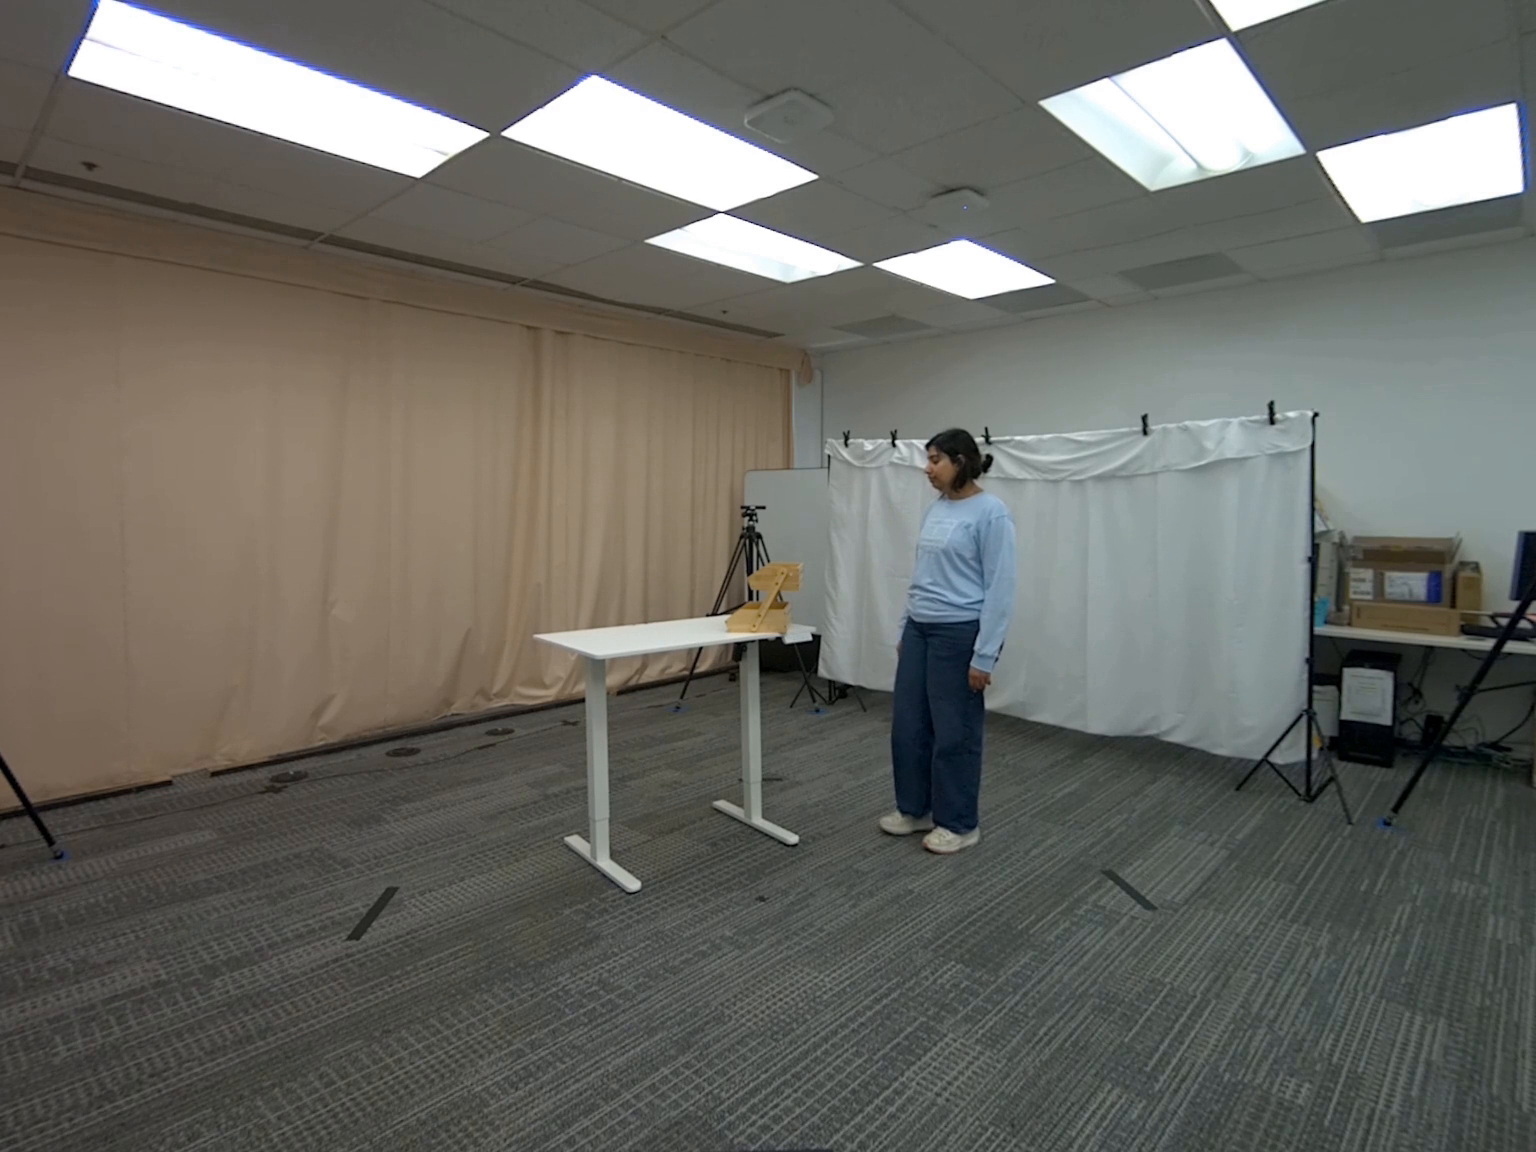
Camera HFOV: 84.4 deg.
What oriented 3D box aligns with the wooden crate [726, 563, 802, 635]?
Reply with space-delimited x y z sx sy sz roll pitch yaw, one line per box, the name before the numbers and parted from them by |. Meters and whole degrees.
wooden crate | -0.018 0.084 3.510 0.304 0.273 0.323 0 3 5
